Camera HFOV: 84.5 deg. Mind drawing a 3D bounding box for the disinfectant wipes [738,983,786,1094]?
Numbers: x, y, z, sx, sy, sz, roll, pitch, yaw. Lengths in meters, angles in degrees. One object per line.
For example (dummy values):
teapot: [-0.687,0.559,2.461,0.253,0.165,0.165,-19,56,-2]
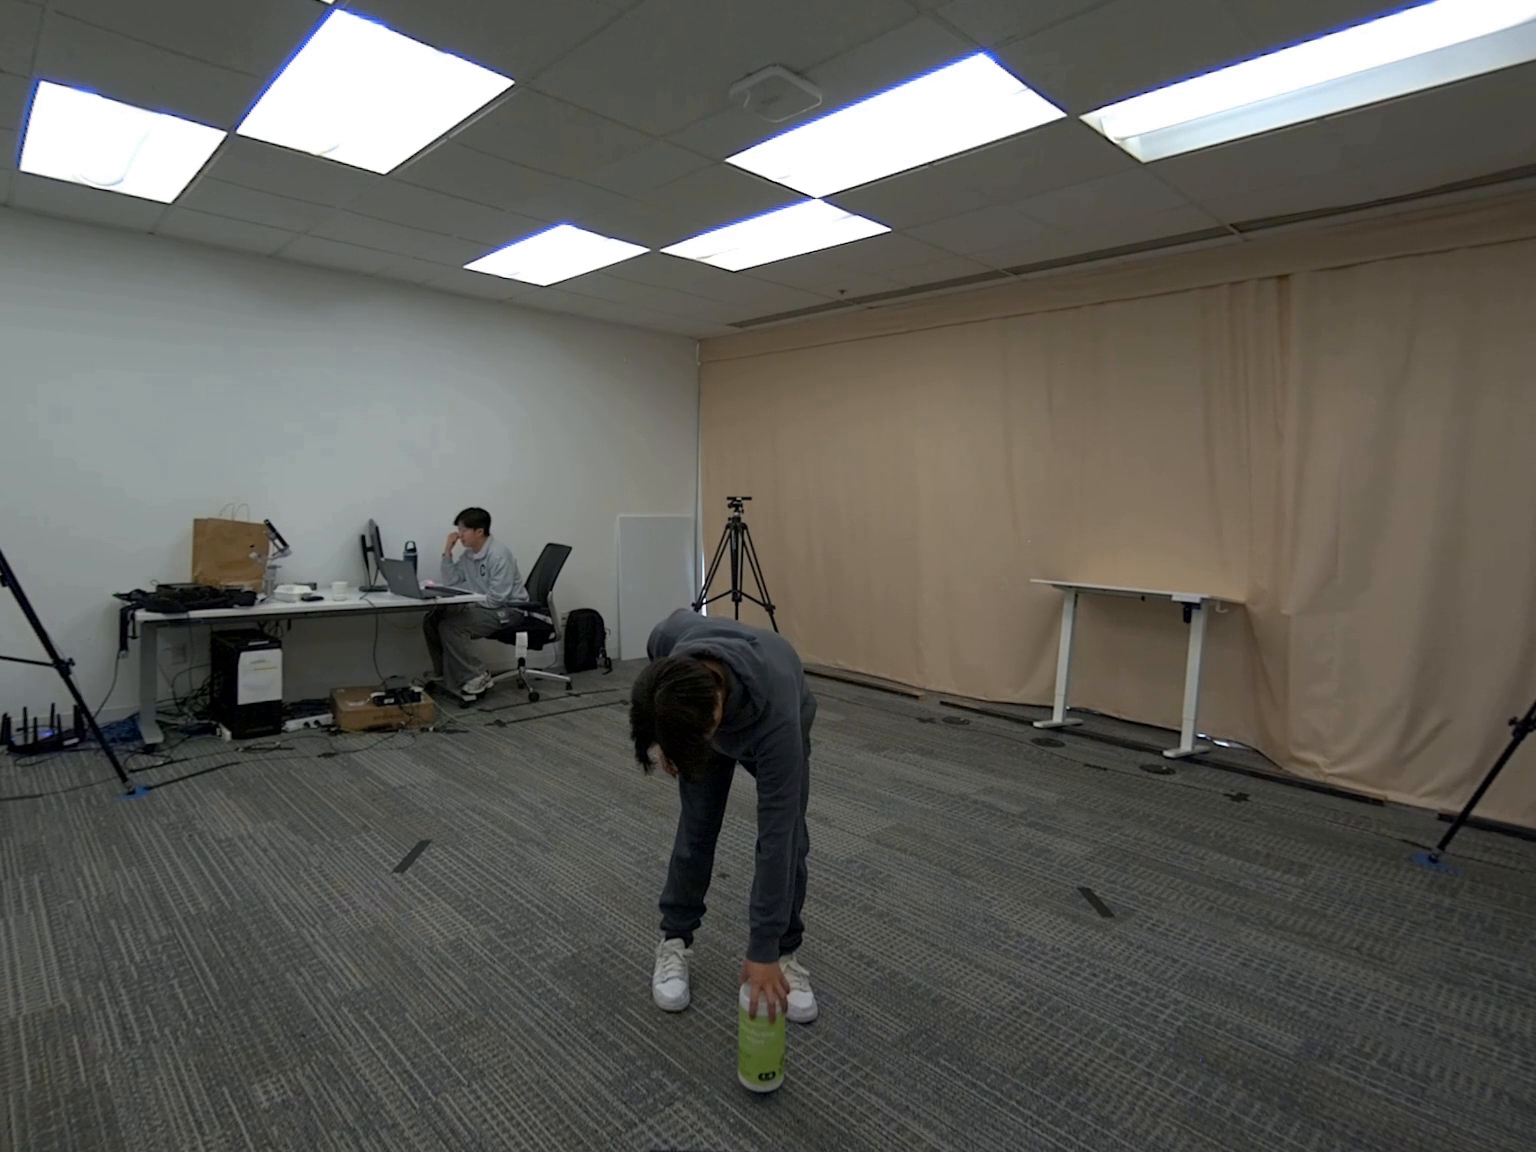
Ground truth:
disinfectant wipes: [-0.031,1.081,1.969,0.118,0.216,0.118,0,5,-1]
